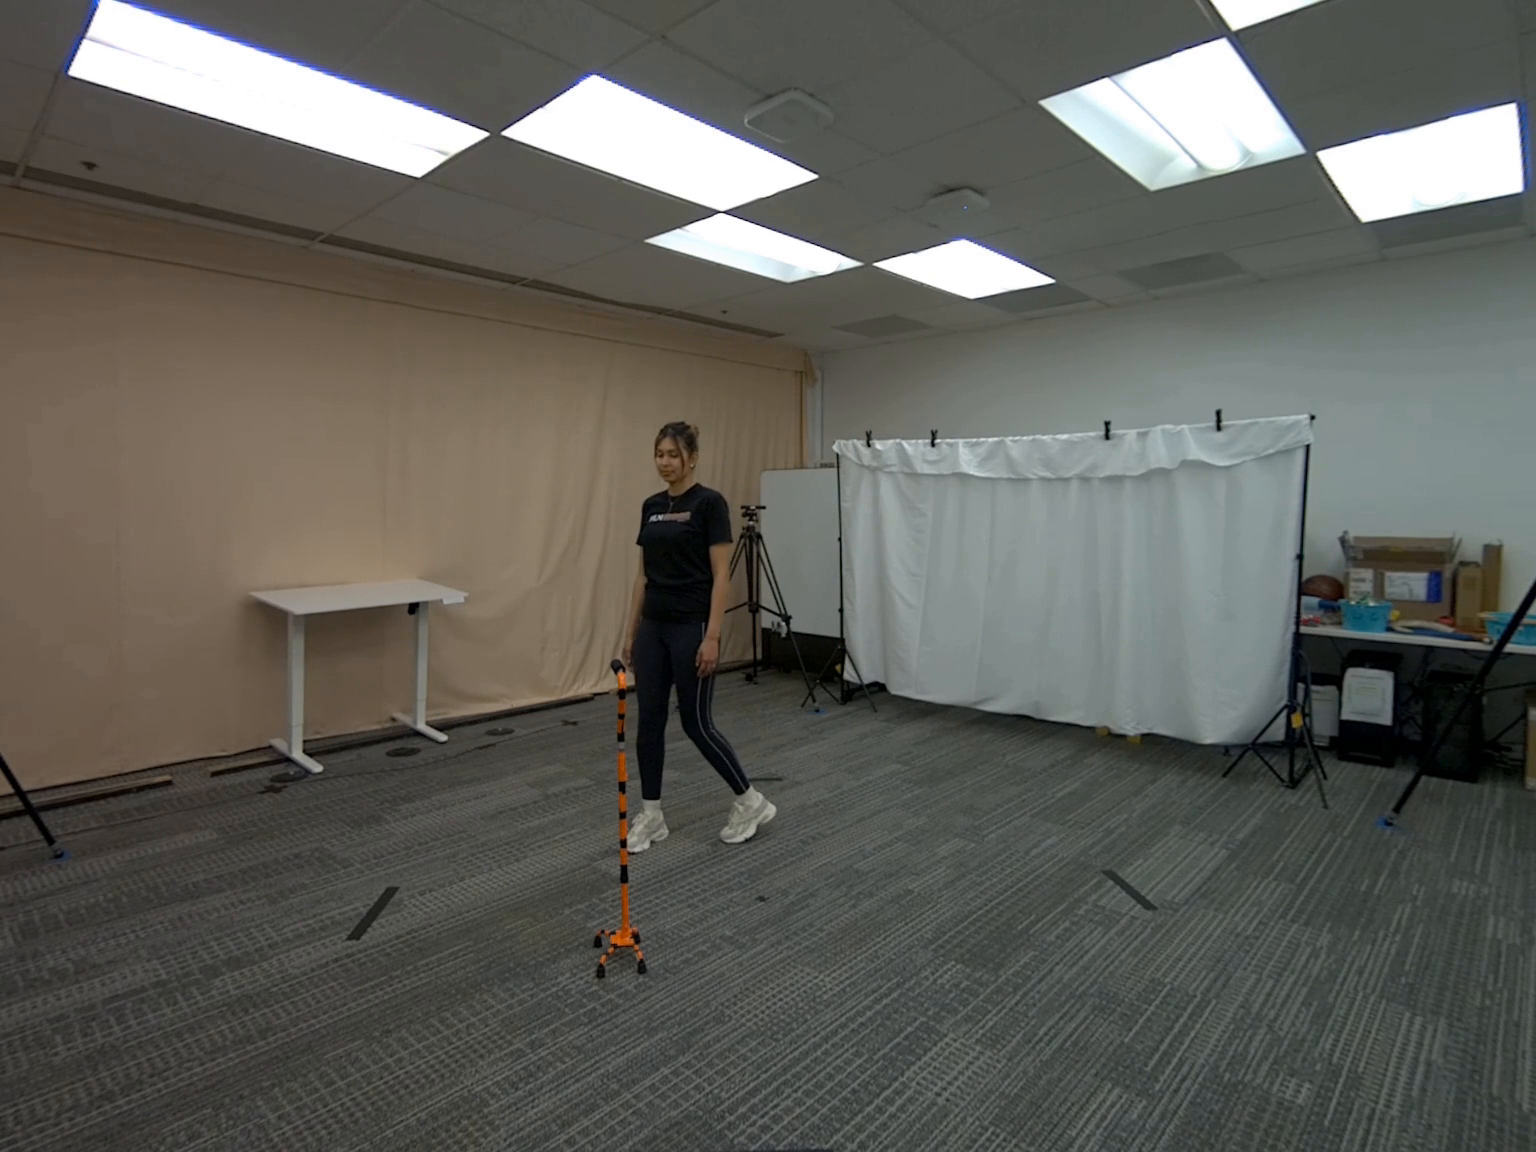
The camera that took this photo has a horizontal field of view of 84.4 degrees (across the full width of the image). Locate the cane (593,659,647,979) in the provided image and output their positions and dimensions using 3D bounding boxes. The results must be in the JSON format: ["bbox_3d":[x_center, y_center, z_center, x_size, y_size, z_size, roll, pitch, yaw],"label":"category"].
[{"bbox_3d":[-0.457,0.726,2.573,0.149,0.906,0.209,0,3,-14],"label":"cane"}]
